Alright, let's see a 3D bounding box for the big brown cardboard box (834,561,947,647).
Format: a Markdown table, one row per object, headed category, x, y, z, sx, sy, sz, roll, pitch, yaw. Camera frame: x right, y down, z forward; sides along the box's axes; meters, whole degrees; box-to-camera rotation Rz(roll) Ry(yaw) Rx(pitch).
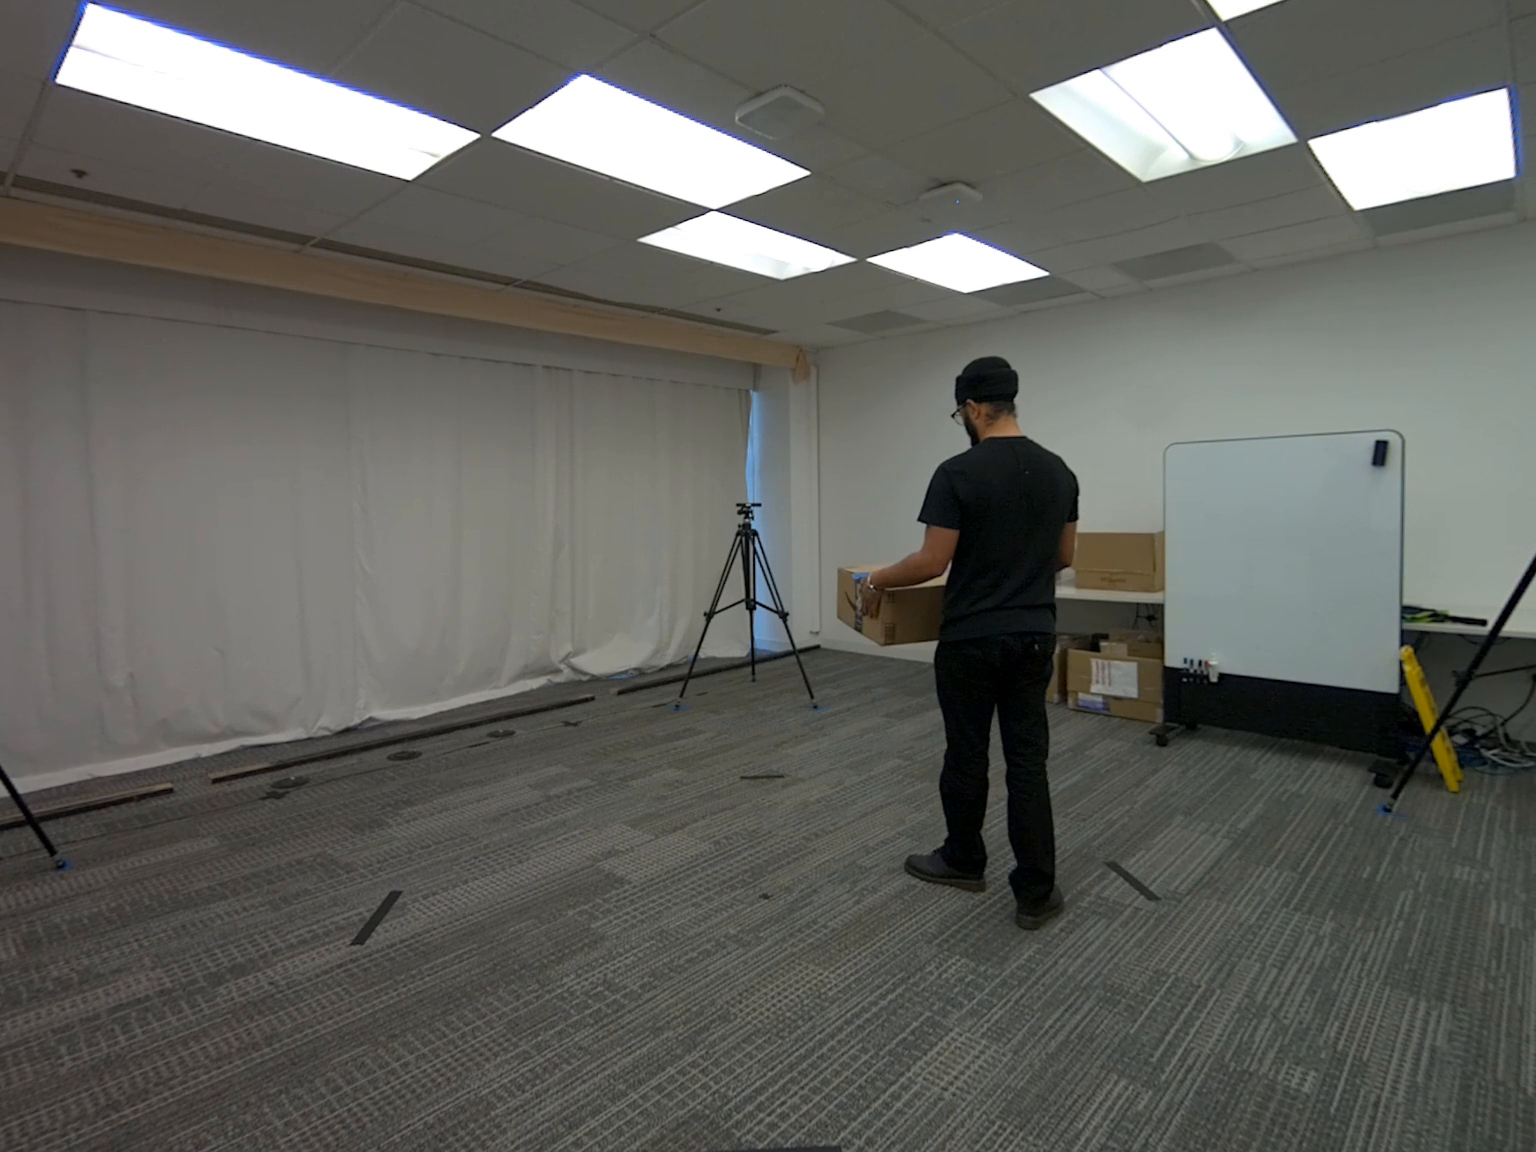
| category | x | y | z | sx | sy | sz | roll | pitch | yaw |
| --- | --- | --- | --- | --- | --- | --- | --- | --- | --- |
| big brown cardboard box | 0.613 | 0.086 | 3.292 | 0.580 | 0.232 | 0.427 | -3 | 10 | -16 |
